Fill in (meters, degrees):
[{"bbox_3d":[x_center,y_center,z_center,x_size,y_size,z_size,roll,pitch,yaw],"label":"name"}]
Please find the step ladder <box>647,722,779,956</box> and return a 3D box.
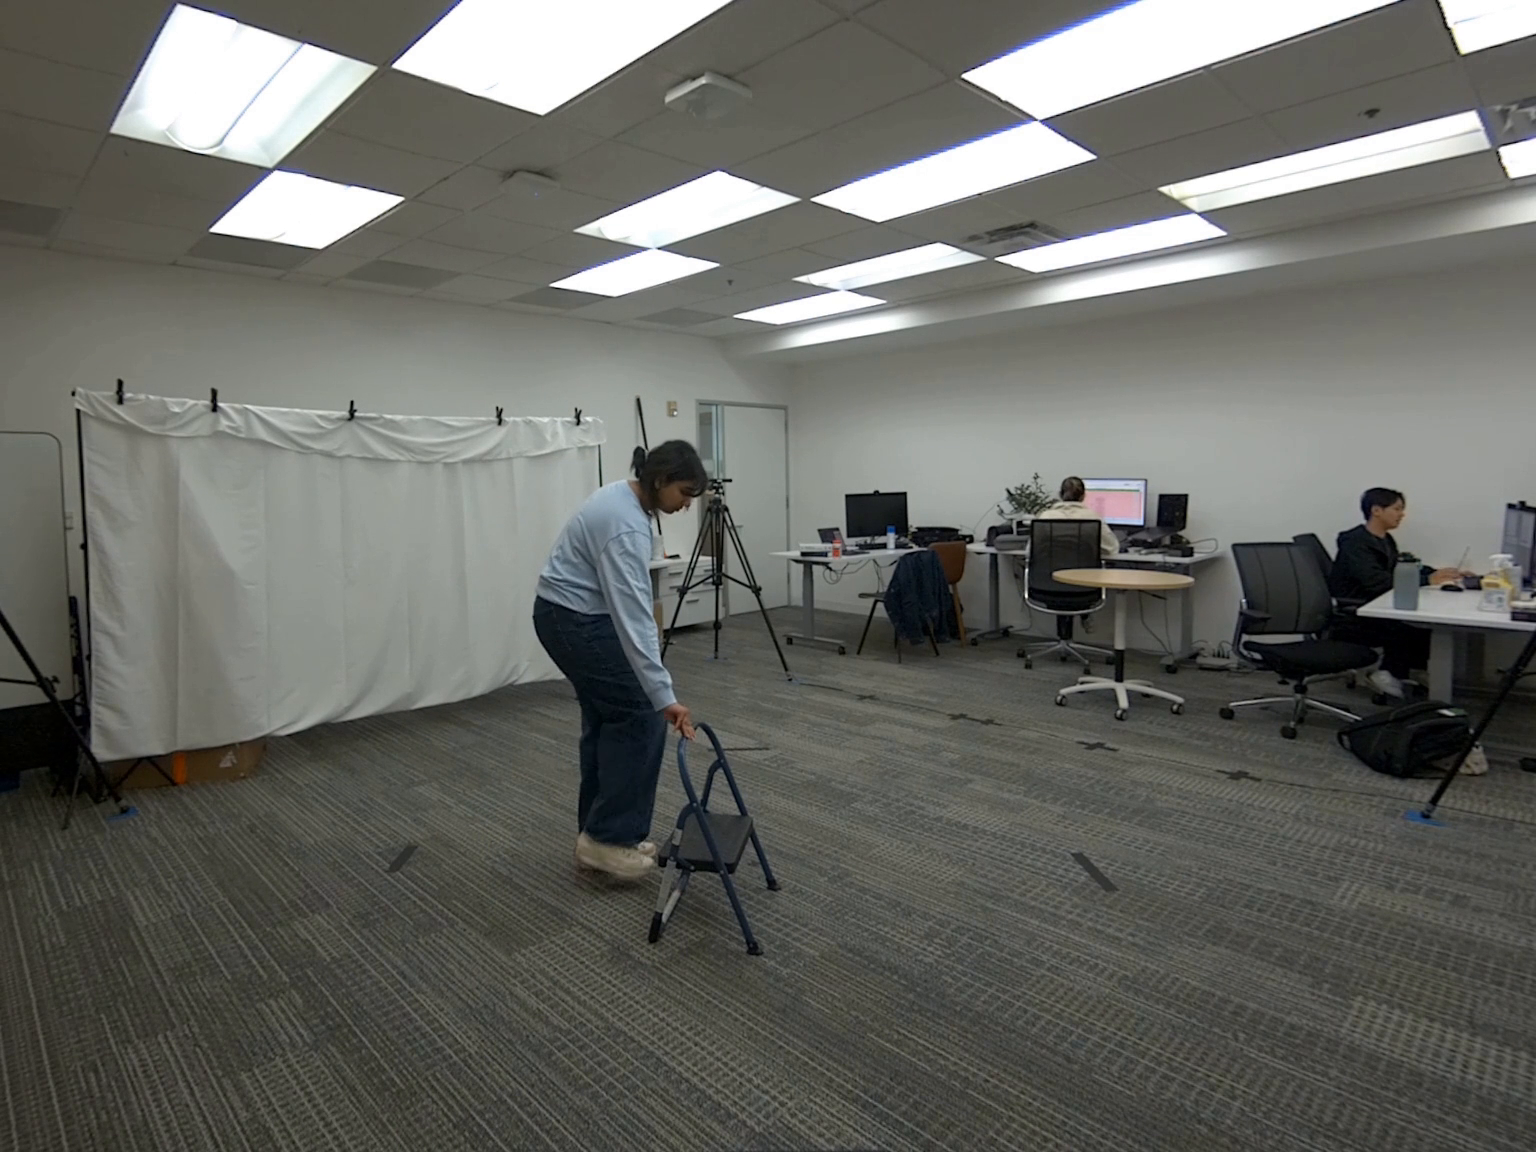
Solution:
[{"bbox_3d":[-0.167,0.789,2.725,0.353,0.604,0.427,0,5,10],"label":"step ladder"}]
